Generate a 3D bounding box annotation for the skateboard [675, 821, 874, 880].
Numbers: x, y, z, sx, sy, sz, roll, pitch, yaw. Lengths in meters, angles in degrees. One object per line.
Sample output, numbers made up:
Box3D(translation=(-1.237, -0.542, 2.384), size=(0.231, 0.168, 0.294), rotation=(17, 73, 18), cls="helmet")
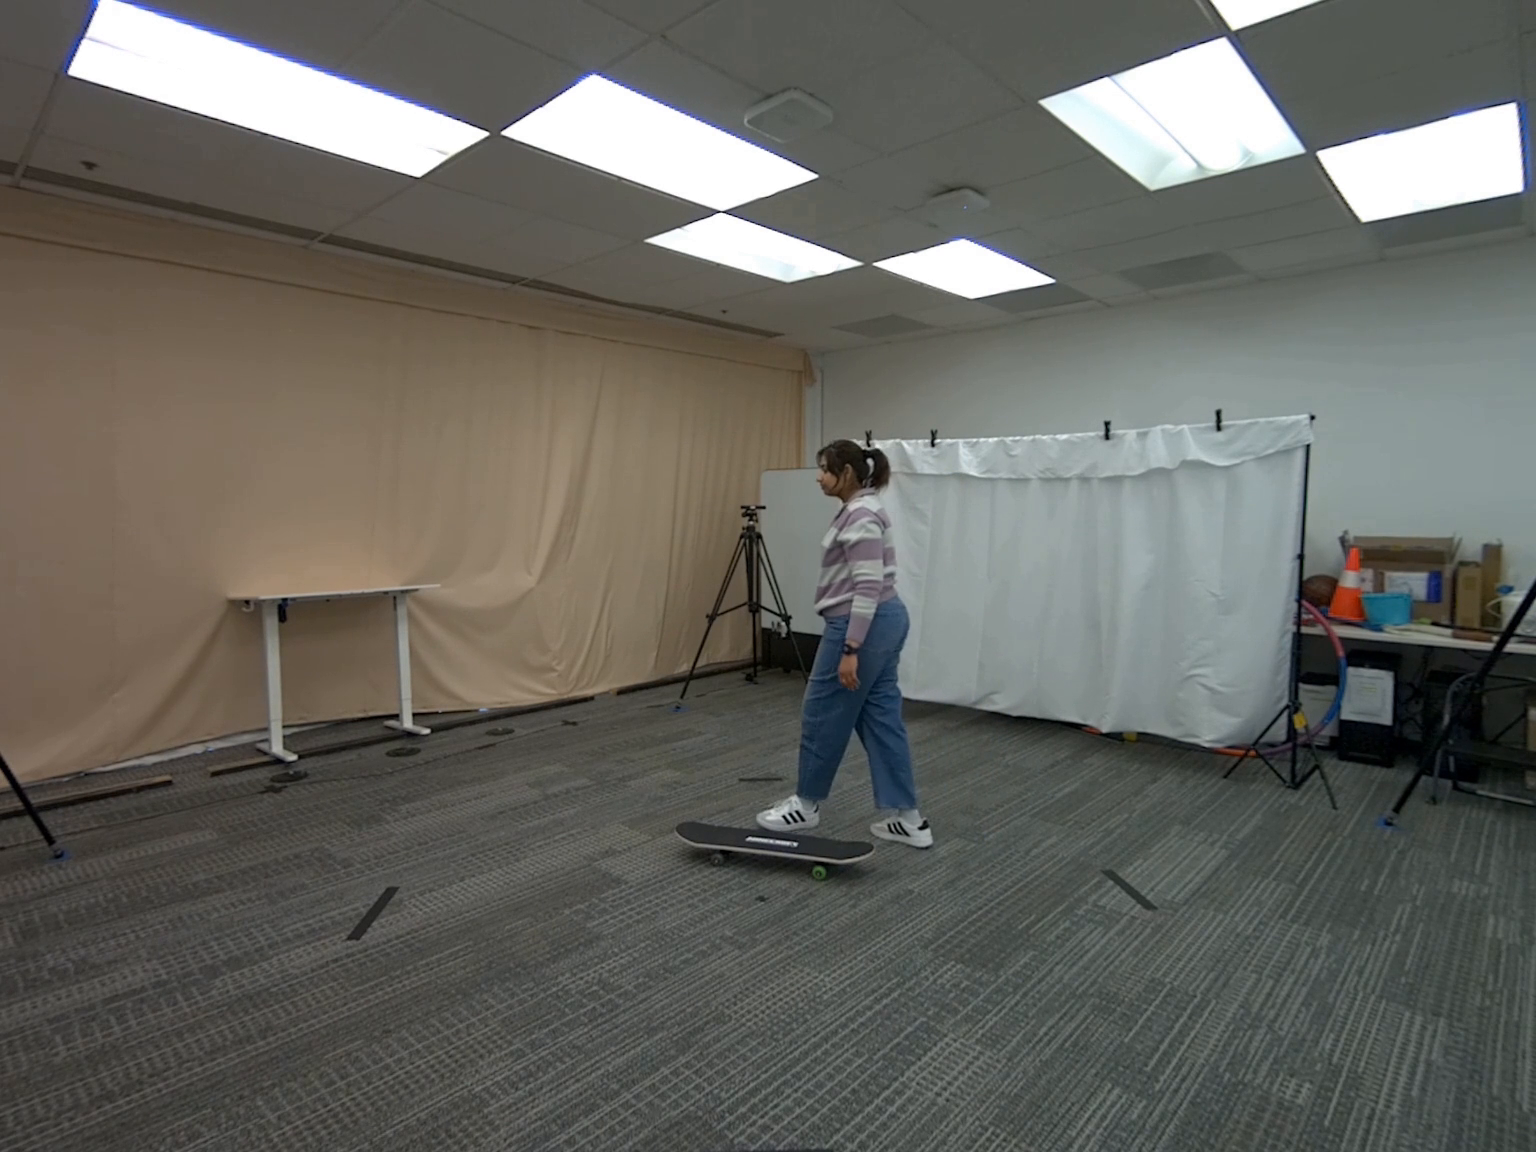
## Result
Box3D(translation=(0.019, 1.059, 3.261), size=(0.800, 0.110, 0.190), rotation=(1, 5, 17), cls="skateboard")
